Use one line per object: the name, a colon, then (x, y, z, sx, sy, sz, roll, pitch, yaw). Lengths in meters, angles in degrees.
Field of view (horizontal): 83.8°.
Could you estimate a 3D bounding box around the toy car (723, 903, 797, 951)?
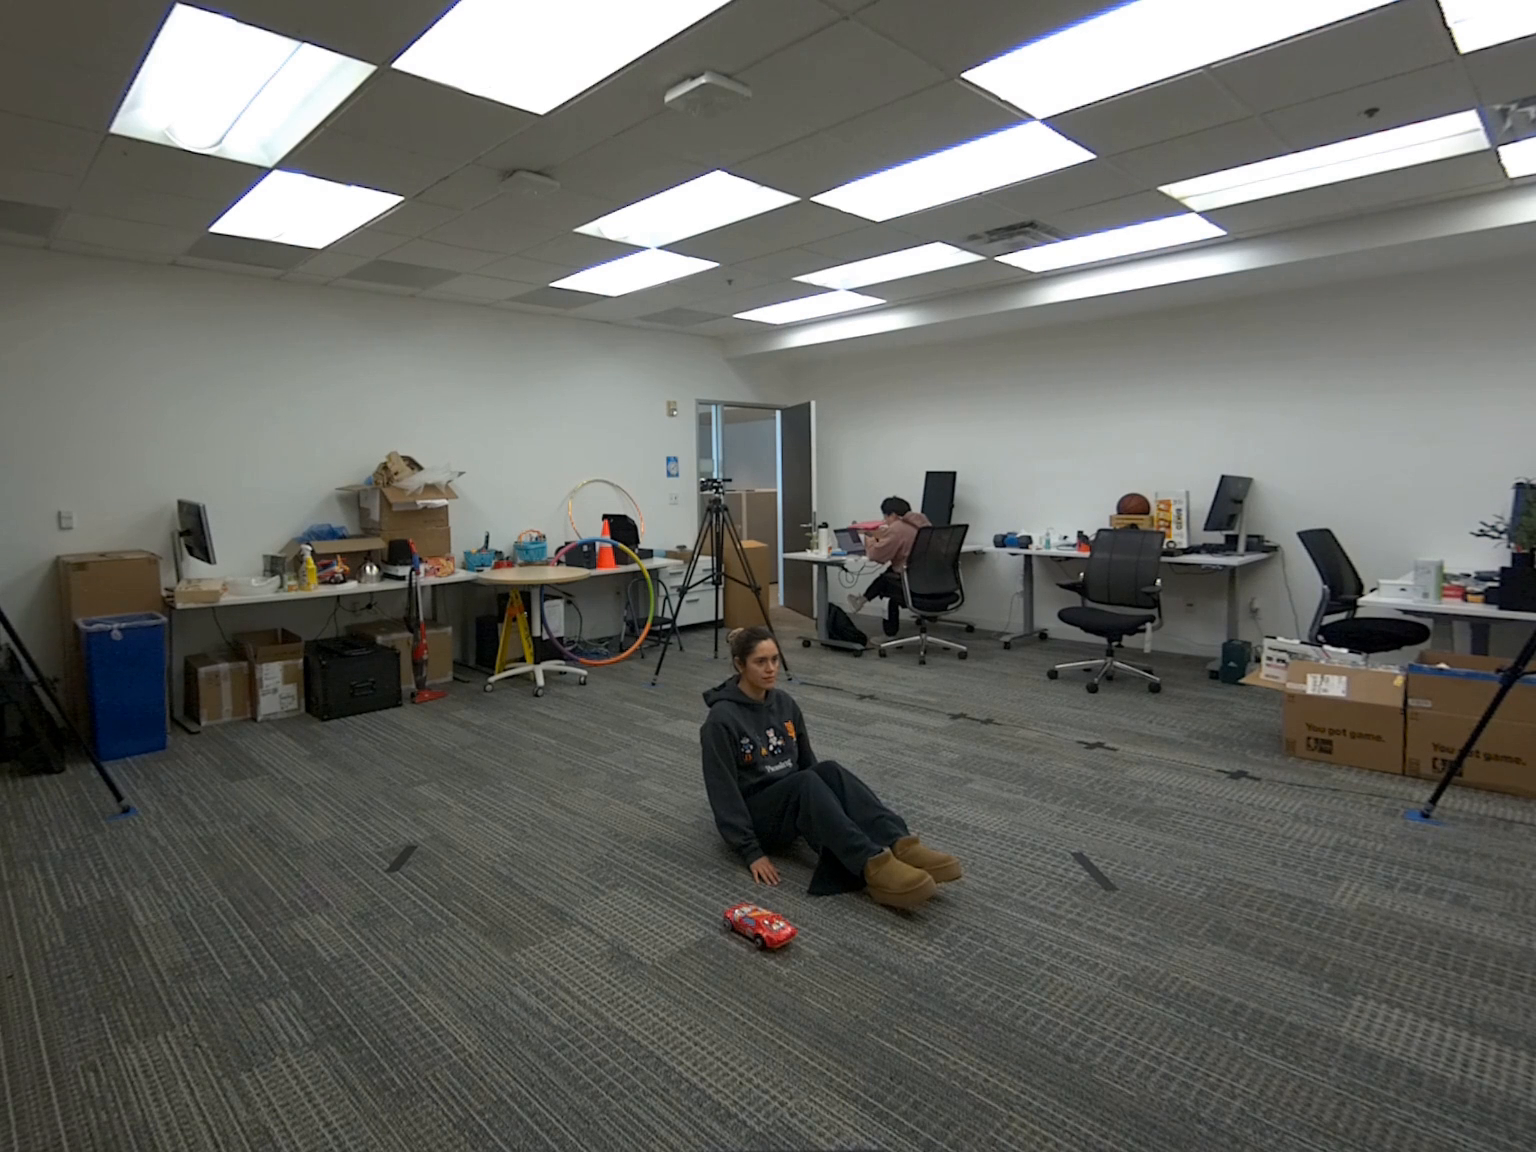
toy car: (-0.019, 1.074, 2.590, 0.127, 0.083, 0.260, -7, -2, -42)
